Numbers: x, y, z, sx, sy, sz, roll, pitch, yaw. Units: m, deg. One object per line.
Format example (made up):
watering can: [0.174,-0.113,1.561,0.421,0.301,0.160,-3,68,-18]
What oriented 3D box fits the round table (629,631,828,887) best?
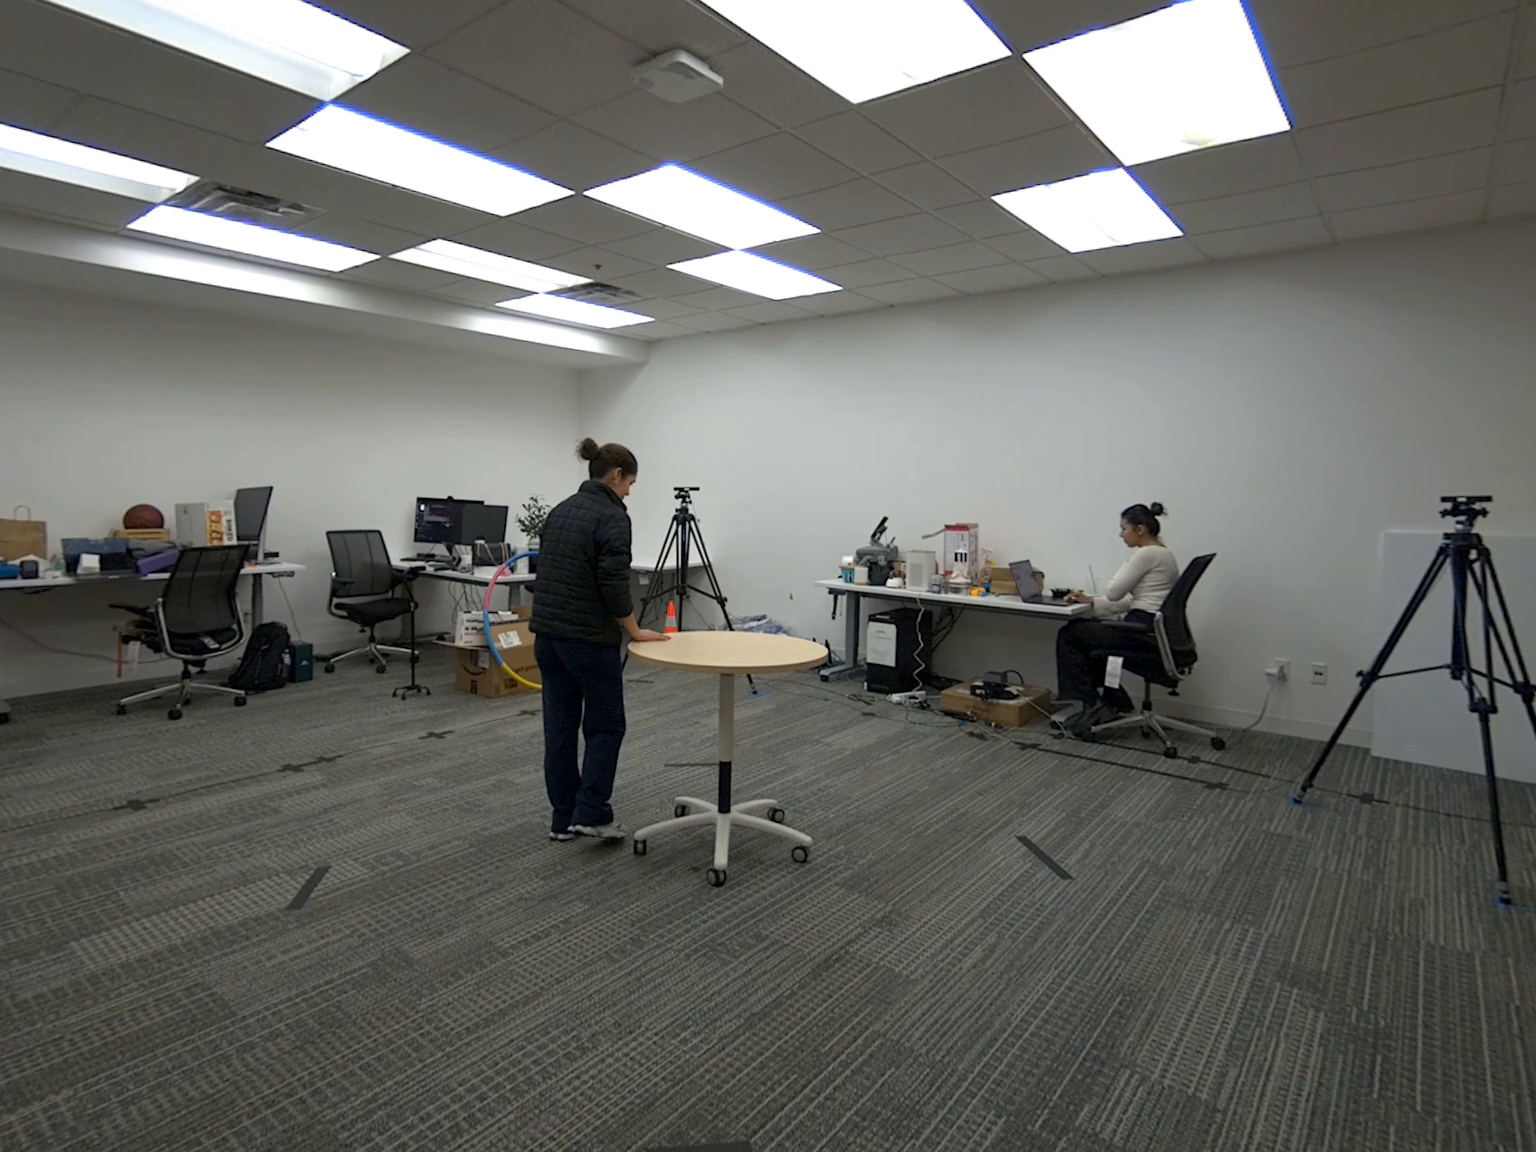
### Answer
round table: [-0.133,0.658,3.285,0.784,0.784,0.789,1,4,-2]
